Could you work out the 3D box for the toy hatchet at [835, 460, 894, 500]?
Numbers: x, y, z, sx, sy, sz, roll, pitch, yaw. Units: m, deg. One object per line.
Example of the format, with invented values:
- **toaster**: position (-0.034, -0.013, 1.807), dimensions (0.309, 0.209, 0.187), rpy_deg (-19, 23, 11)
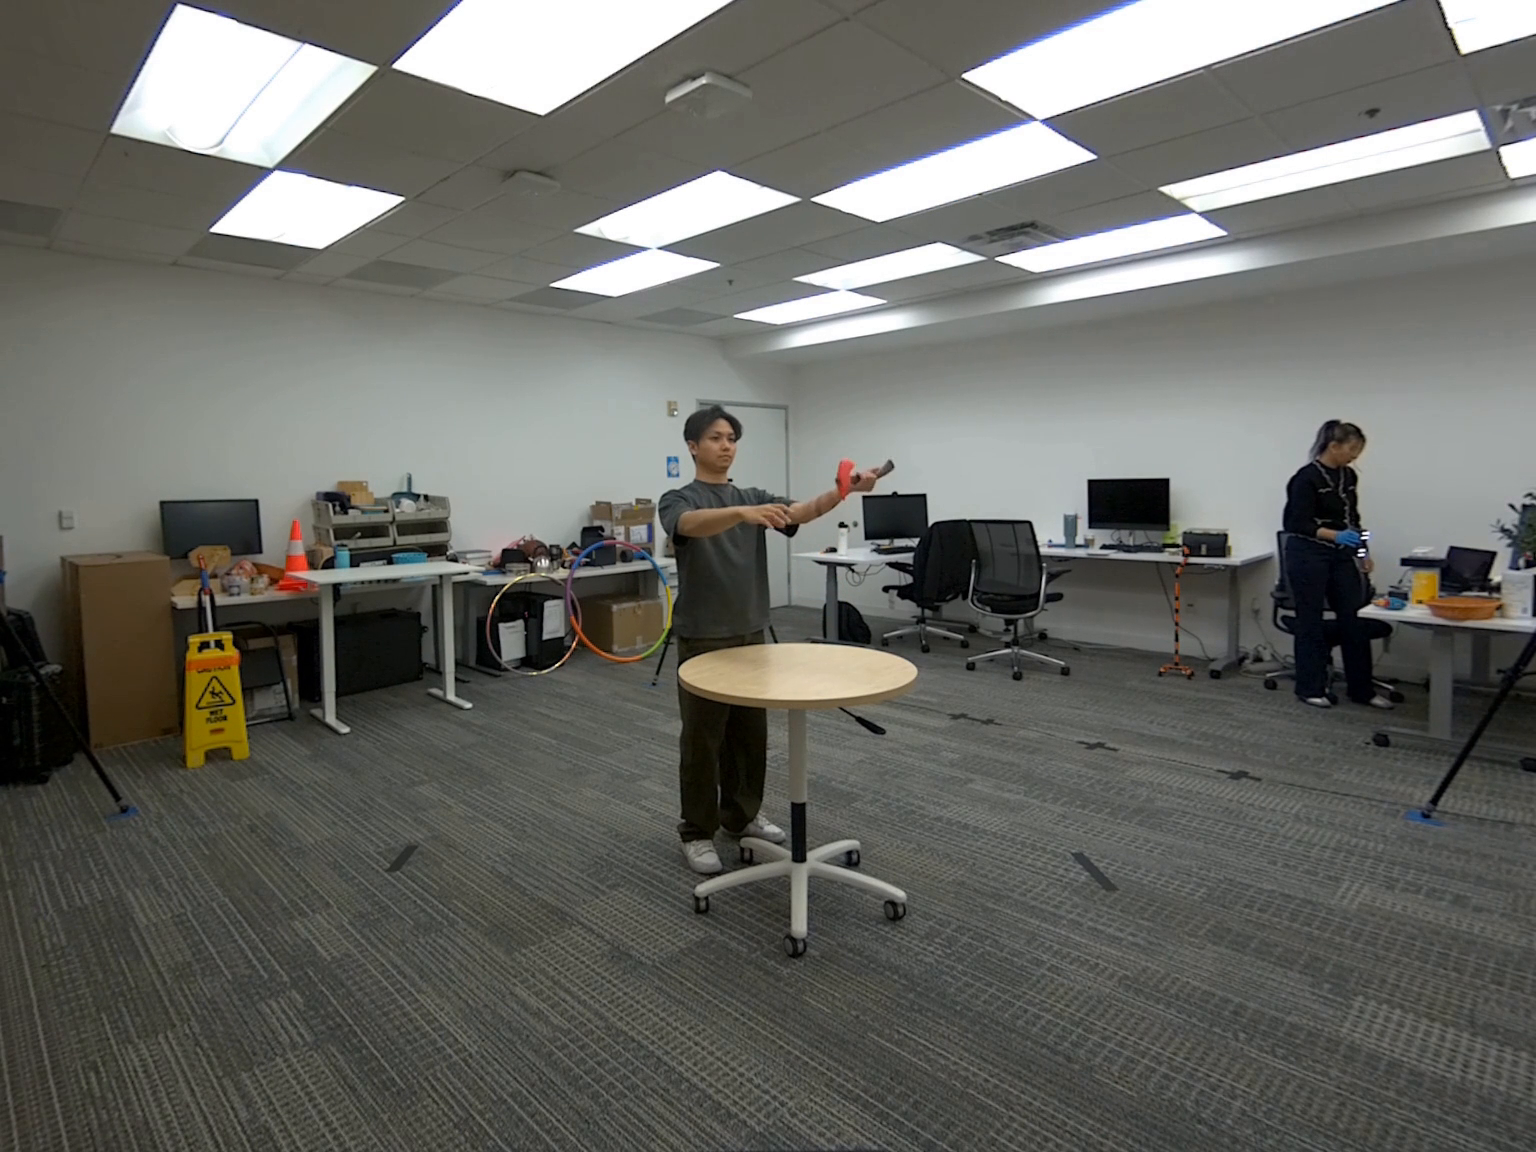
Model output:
- **toy hatchet**: position (0.326, -0.361, 2.891), dimensions (0.267, 0.128, 0.030), rpy_deg (-33, 21, -32)
